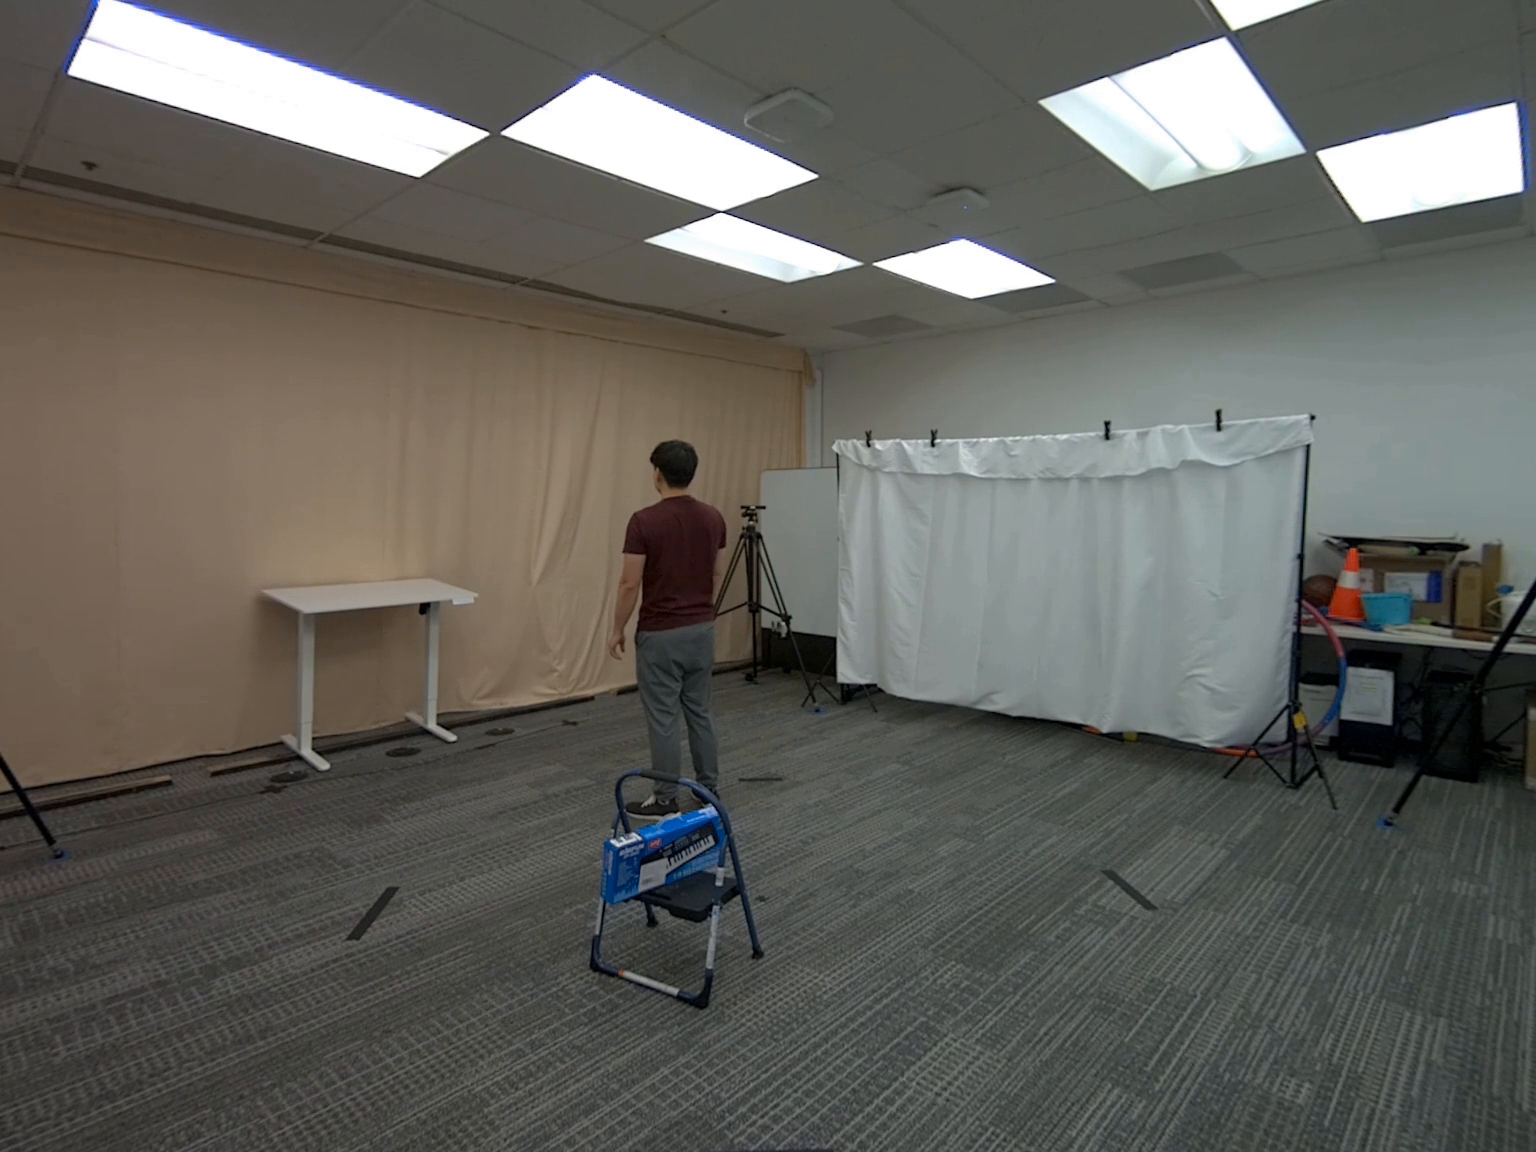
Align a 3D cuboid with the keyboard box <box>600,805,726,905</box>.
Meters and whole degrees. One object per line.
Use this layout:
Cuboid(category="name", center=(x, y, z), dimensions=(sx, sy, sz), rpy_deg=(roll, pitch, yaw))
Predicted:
Cuboid(category="keyboard box", center=(-0.299, 0.830, 2.538), dimensions=(0.423, 0.175, 0.061), rpy_deg=(-4, 13, -44))
